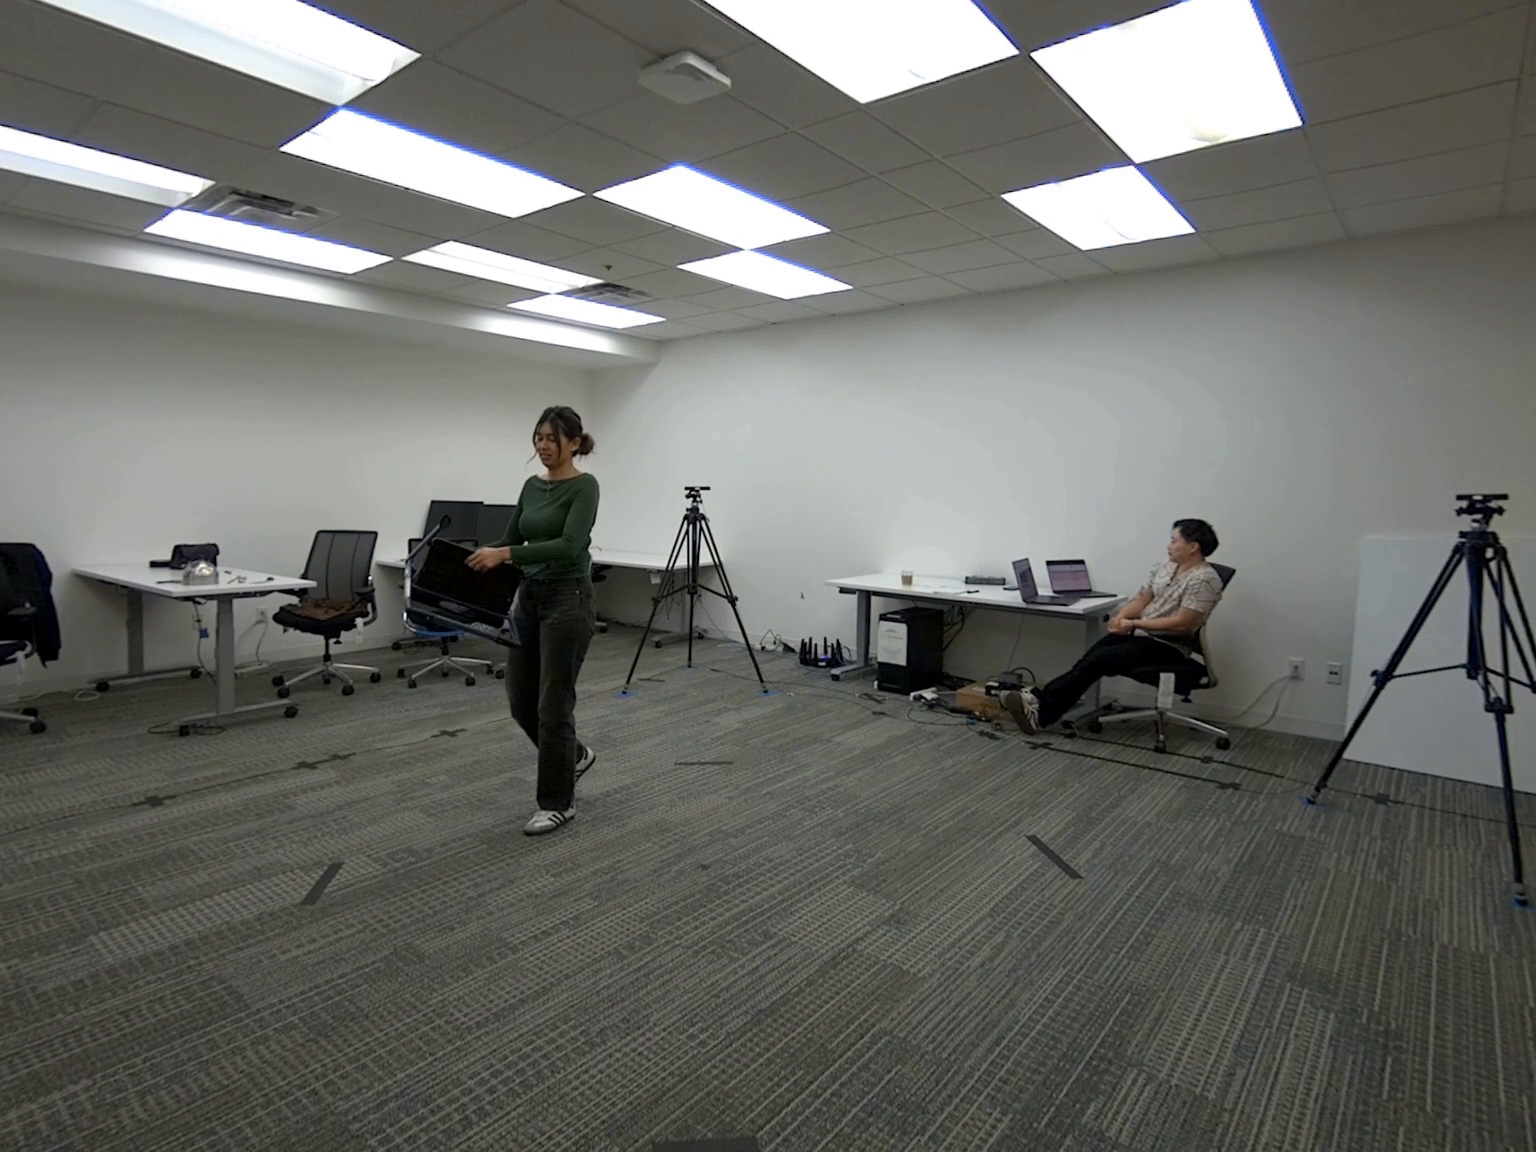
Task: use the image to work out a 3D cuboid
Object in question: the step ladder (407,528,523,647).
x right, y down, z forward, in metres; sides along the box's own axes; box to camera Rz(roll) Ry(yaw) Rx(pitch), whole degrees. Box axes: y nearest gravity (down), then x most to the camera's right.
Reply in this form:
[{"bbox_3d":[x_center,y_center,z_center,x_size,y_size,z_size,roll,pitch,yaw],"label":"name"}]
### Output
[{"bbox_3d":[-1.140,-0.007,3.180,0.416,0.350,0.625,25,-5,-30],"label":"step ladder"}]
